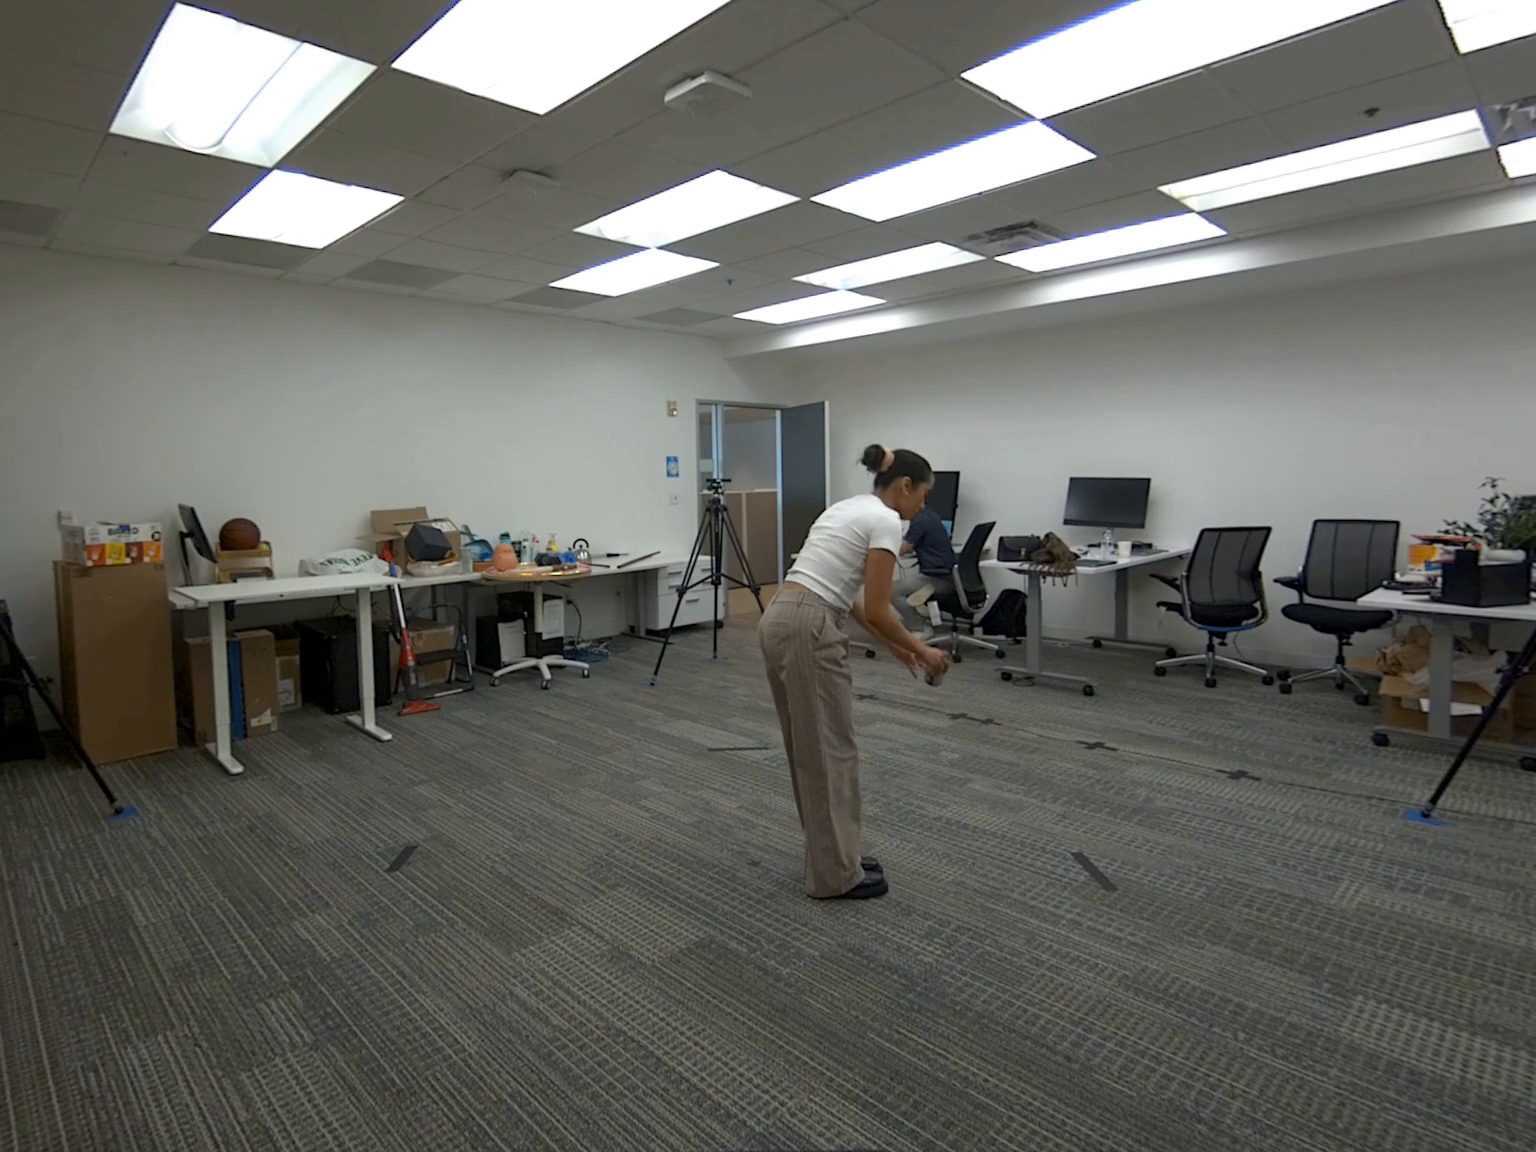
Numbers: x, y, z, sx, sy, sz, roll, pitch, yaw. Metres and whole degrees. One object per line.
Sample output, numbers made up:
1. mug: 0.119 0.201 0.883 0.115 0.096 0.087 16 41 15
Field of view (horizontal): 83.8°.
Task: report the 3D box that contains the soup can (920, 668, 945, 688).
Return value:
1. soup can: 0.579 0.377 2.991 0.067 0.124 0.066 4 -28 0
